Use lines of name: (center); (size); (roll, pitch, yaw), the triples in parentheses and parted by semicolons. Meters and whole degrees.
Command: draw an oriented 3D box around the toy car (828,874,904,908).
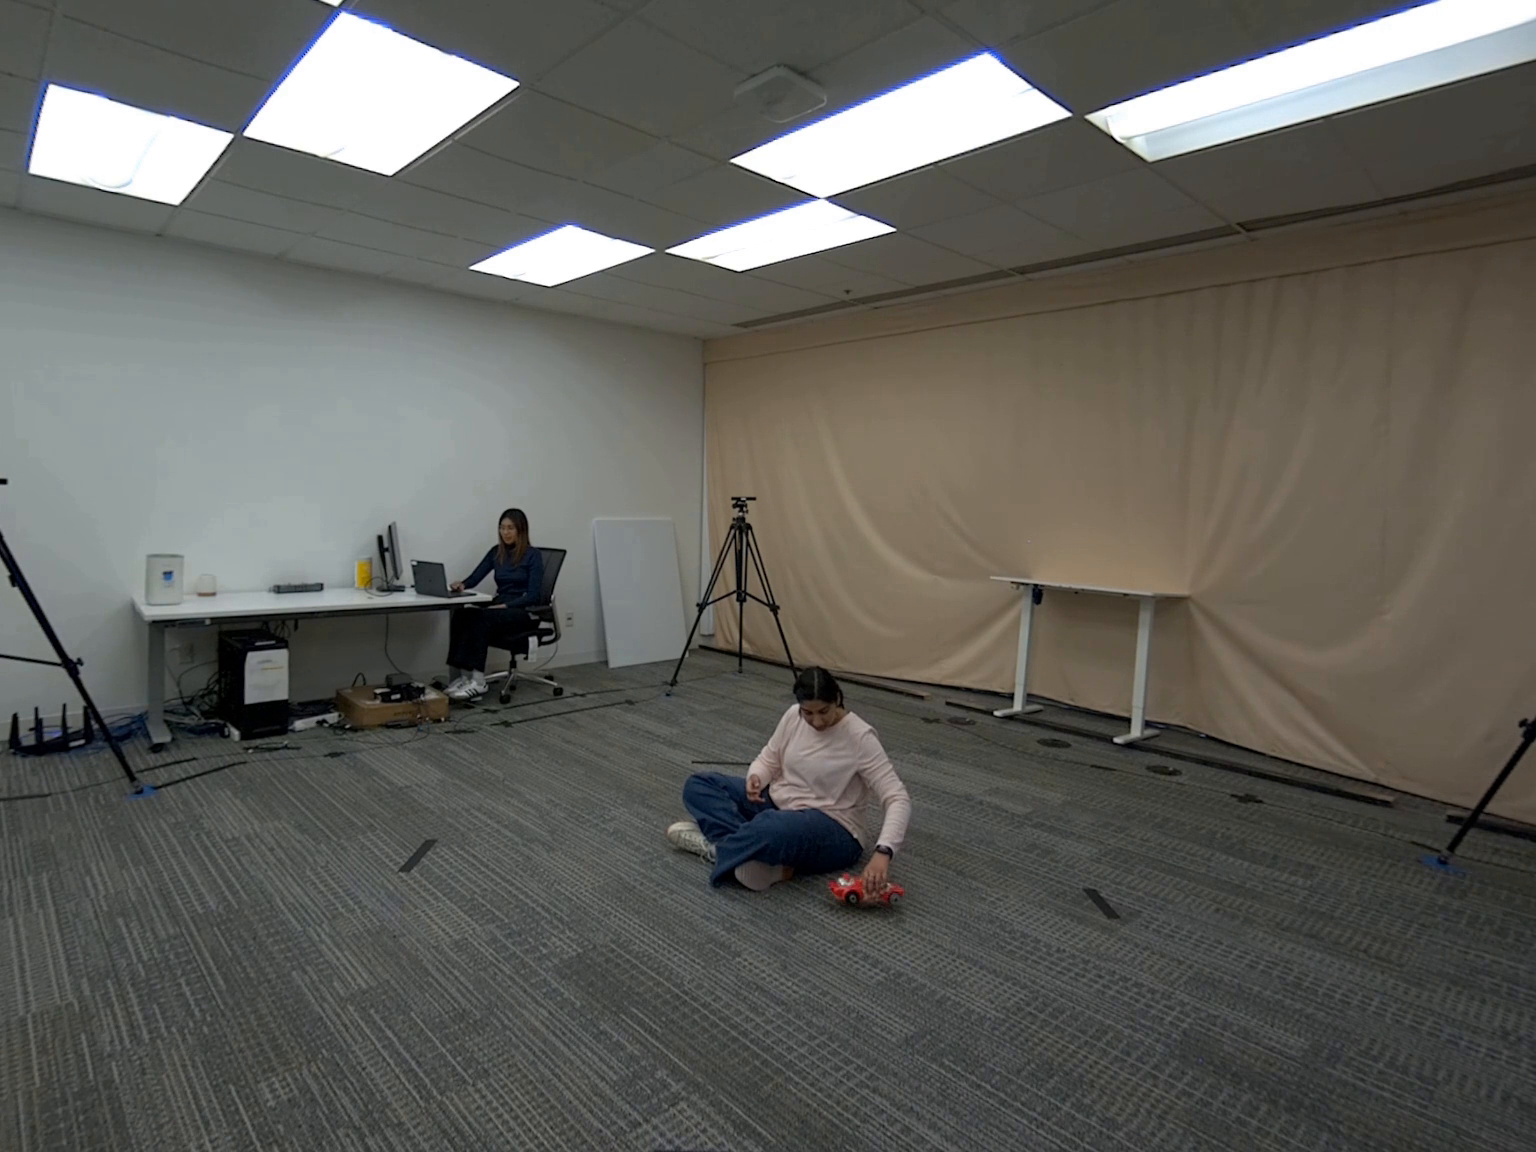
toy car: (0.318, 1.082, 2.878); (0.253, 0.083, 0.130); (11, -4, -4)
